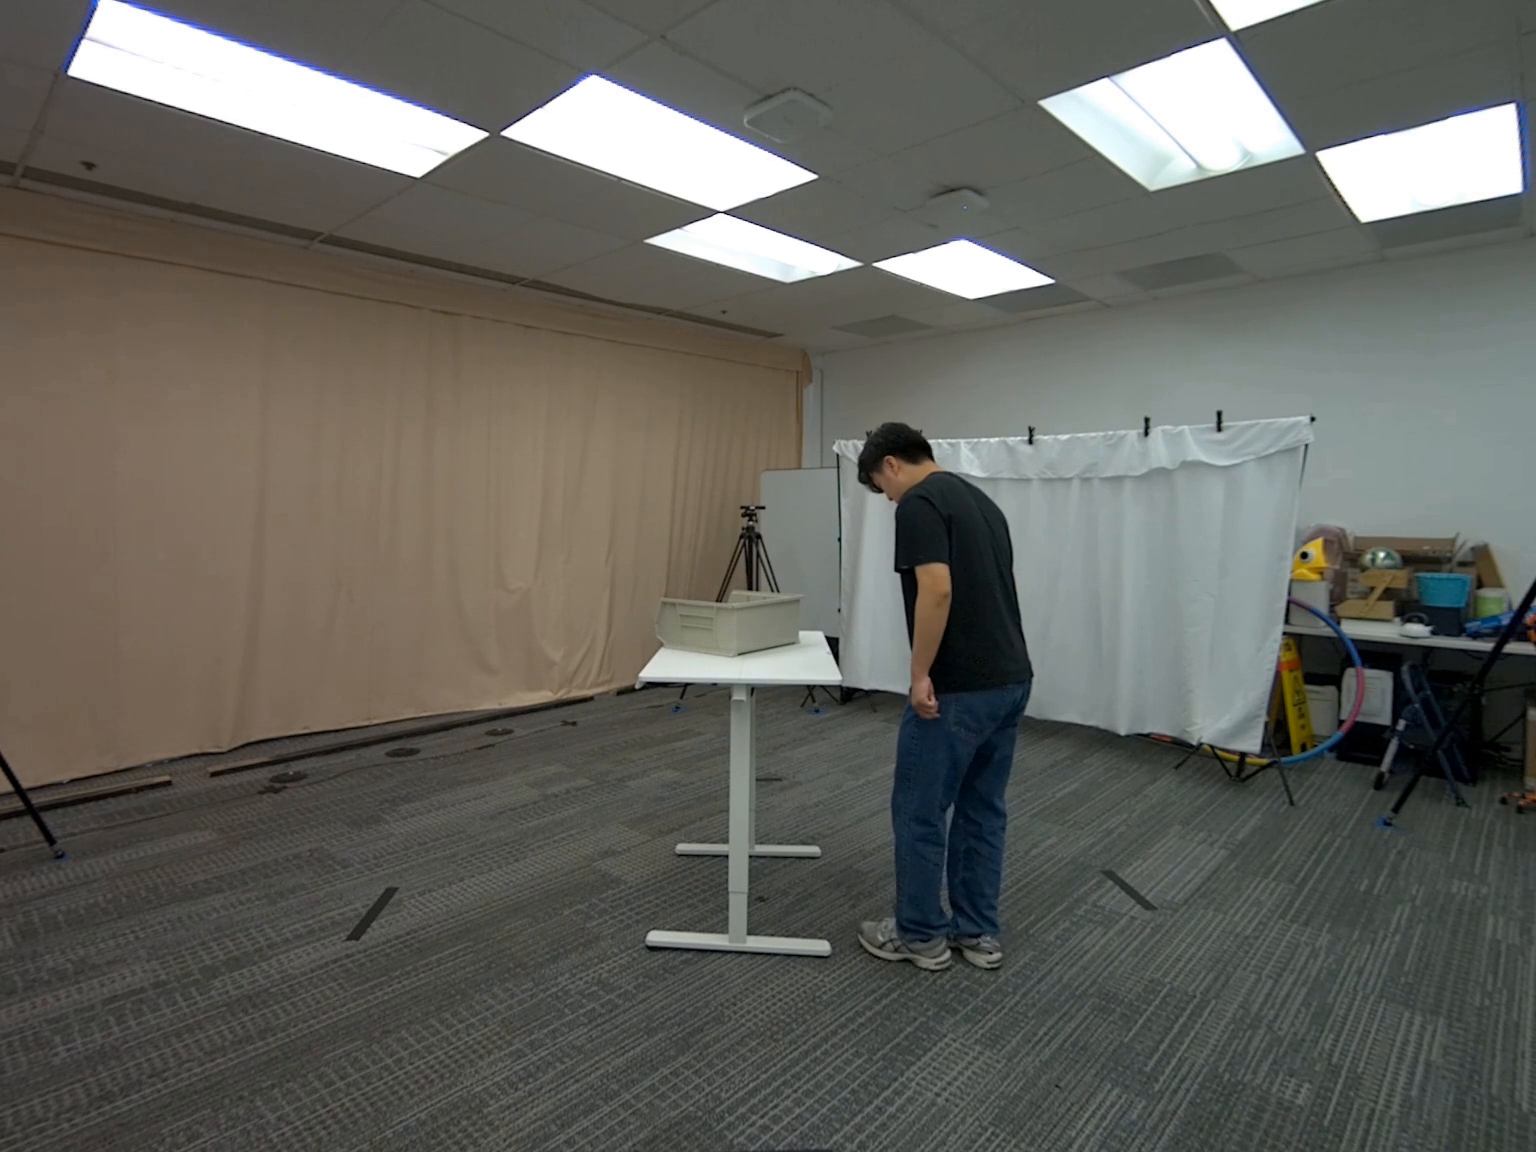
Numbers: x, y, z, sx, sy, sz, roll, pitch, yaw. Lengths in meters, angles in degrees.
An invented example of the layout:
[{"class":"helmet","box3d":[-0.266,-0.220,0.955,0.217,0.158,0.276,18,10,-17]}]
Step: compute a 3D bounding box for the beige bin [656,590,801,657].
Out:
[{"class":"beige bin","box3d":[-0.139,0.166,3.088,0.390,0.188,0.410,5,6,38]}]
